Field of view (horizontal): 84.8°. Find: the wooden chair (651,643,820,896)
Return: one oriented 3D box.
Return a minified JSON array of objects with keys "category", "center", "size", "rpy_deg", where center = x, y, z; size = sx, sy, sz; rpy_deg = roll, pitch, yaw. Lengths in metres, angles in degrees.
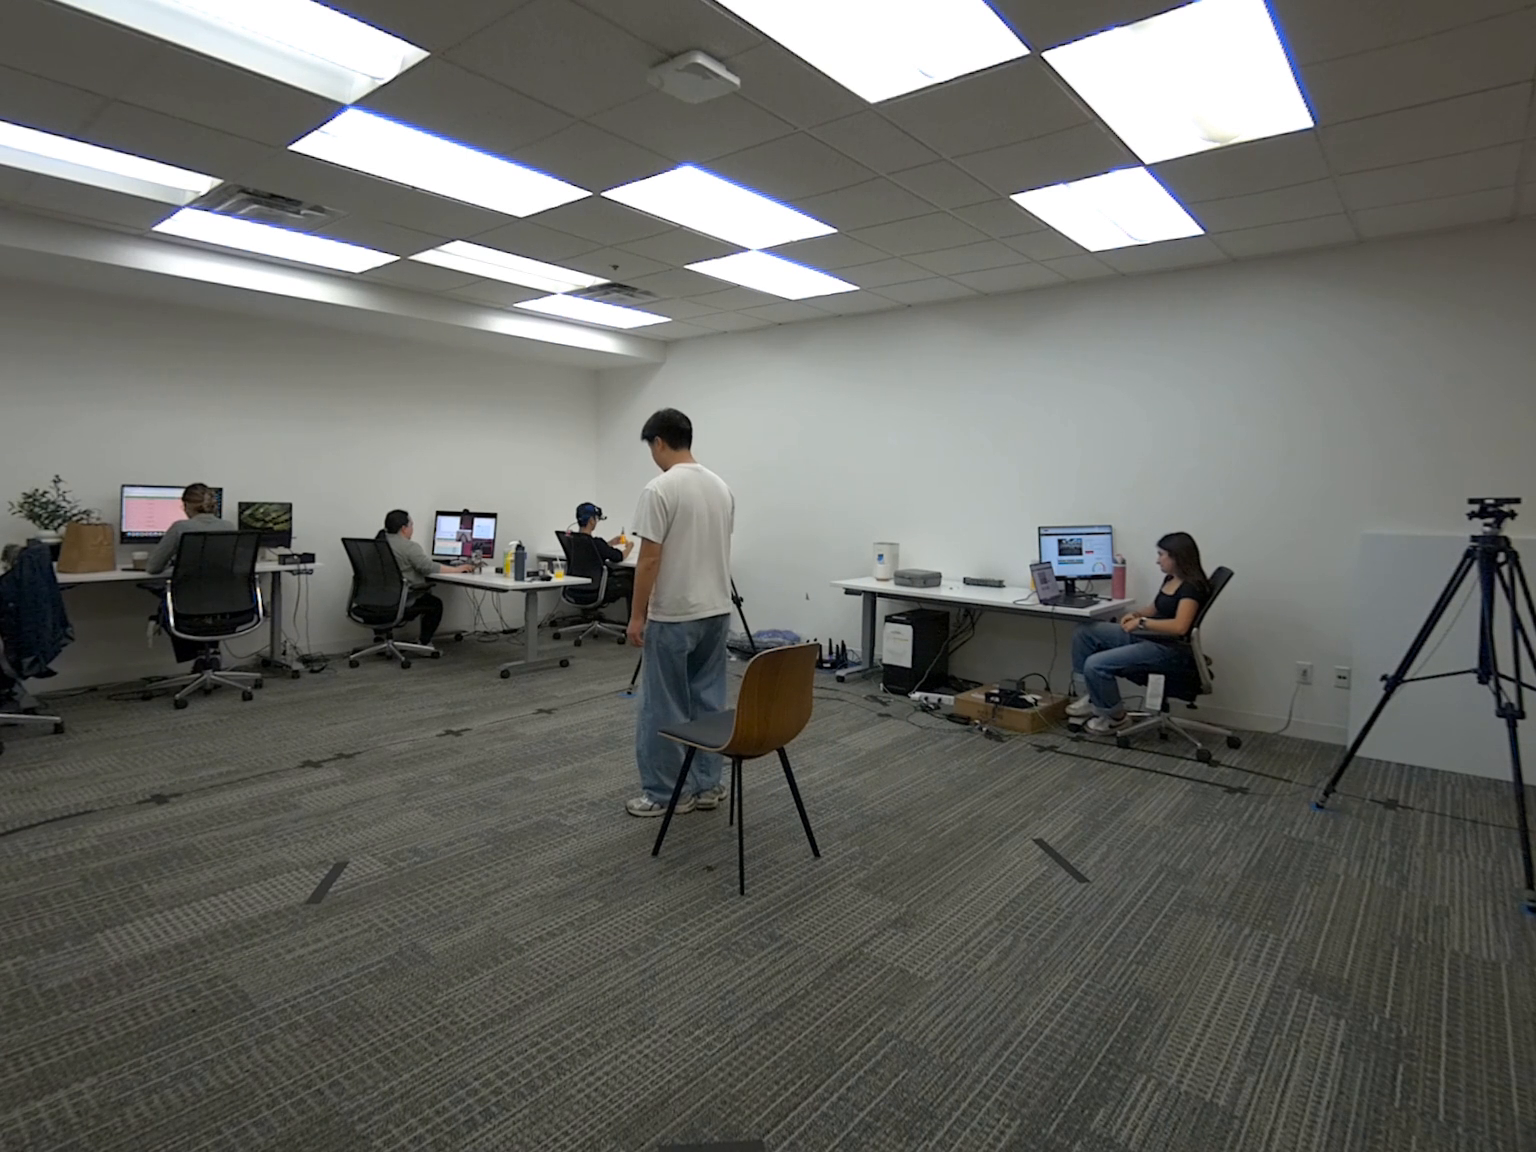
[{"category":"wooden chair","center":[-0.123,0.633,3.193],"size":[0.542,0.873,0.464],"rpy_deg":[10,8,40]}]
